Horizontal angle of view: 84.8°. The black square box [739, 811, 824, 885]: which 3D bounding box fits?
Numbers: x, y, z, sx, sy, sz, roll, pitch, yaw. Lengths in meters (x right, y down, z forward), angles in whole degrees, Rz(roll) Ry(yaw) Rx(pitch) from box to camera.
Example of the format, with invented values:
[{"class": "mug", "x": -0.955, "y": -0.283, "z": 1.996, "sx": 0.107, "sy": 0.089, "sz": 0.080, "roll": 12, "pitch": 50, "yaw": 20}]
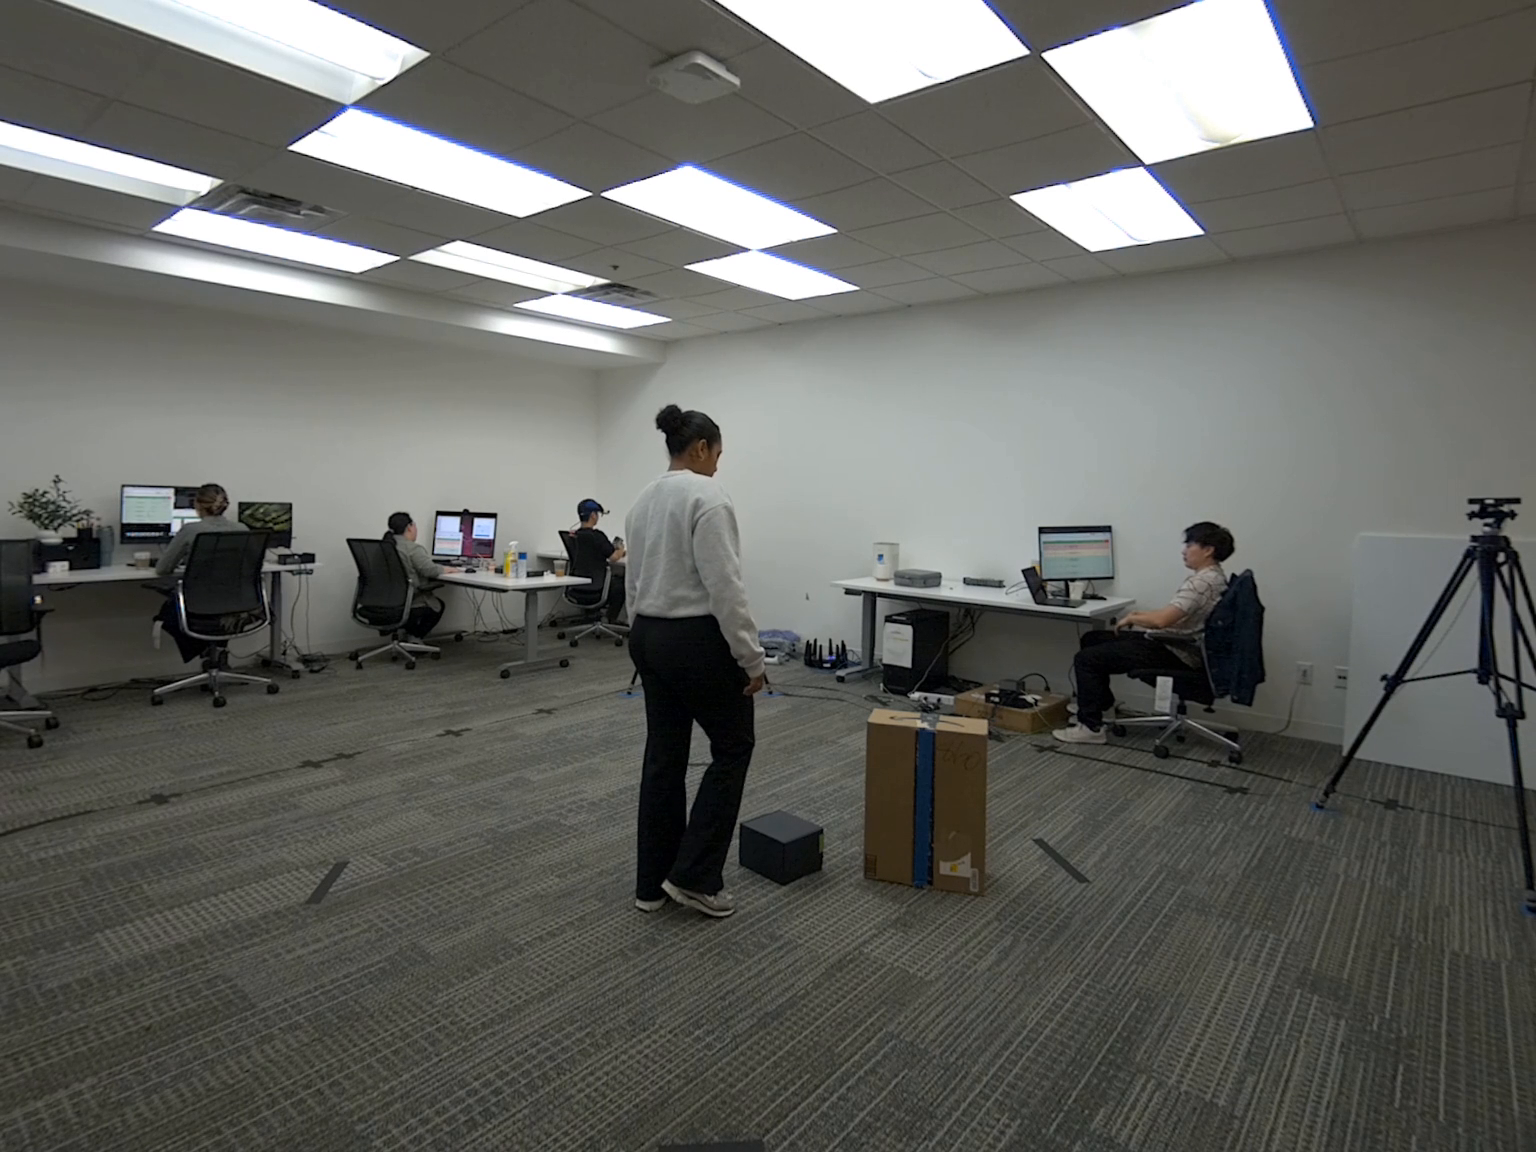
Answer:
[{"class": "black square box", "x": 0.041, "y": 0.988, "z": 3.133, "sx": 0.210, "sy": 0.155, "sz": 0.236, "roll": -2, "pitch": 6, "yaw": -44}]
